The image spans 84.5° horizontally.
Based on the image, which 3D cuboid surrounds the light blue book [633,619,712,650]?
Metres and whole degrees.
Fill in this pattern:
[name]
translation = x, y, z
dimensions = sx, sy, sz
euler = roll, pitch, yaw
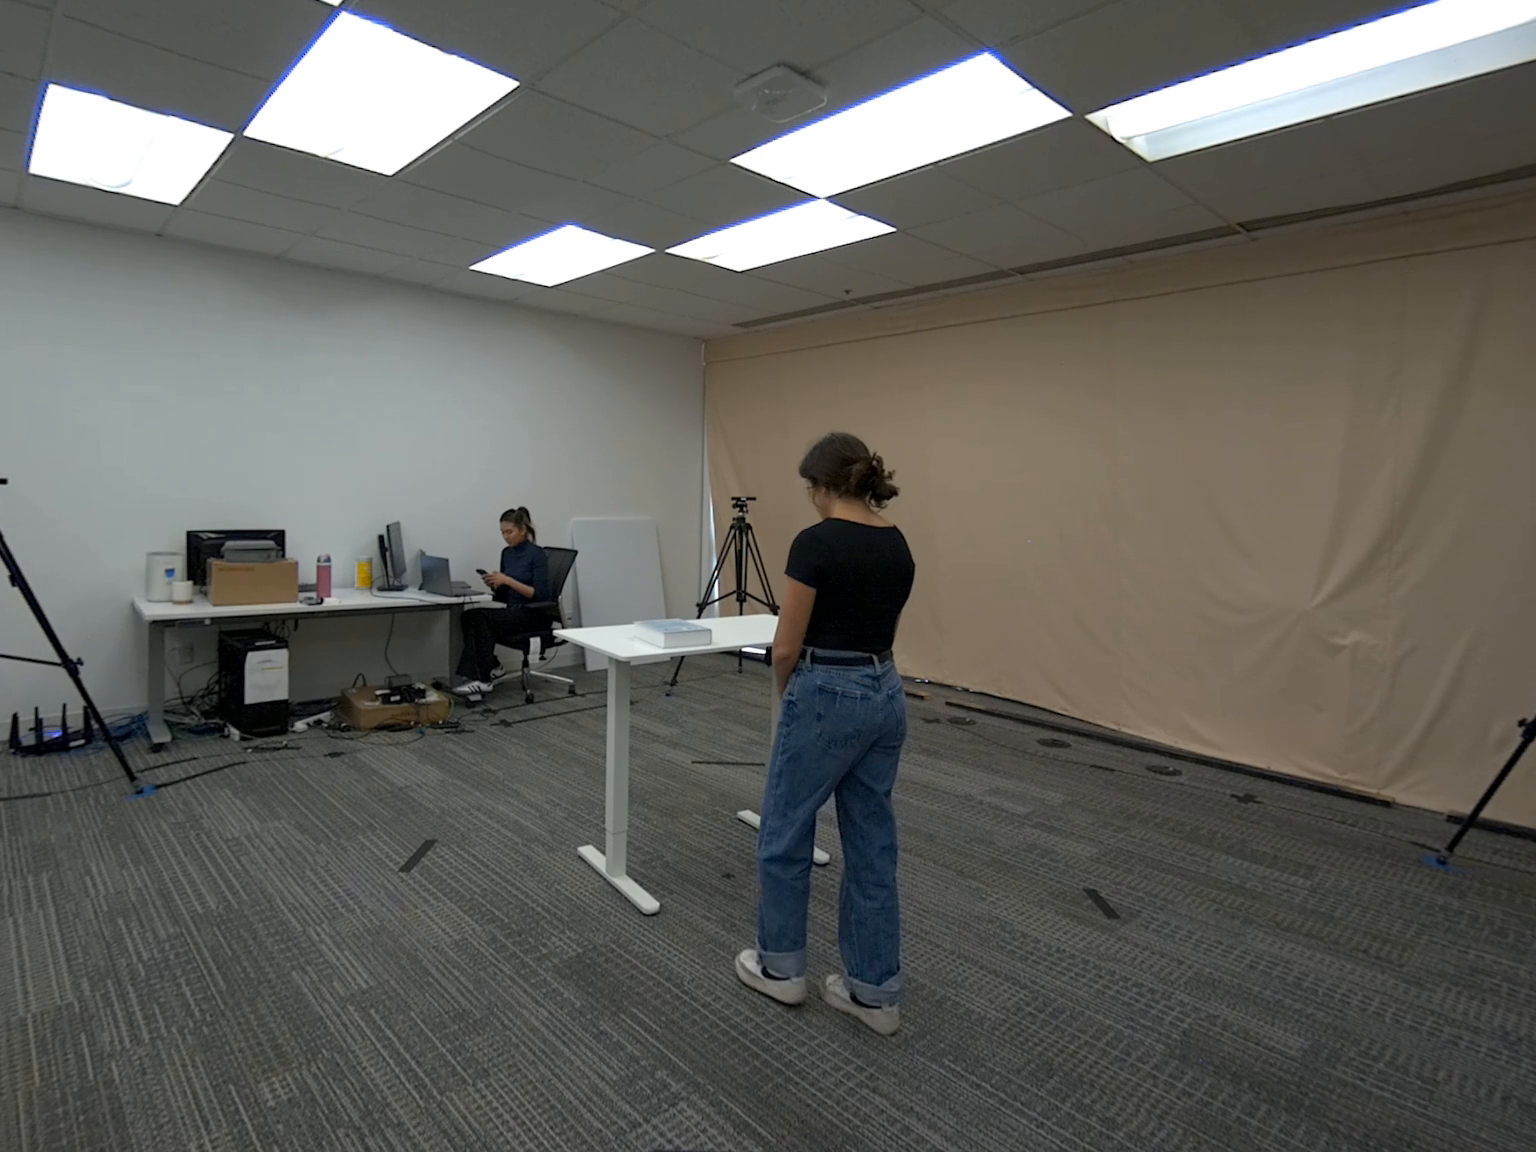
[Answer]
[light blue book]
translation = -0.349, 0.203, 2.982
dimensions = 0.187, 0.059, 0.267
euler = -3, 7, -32
